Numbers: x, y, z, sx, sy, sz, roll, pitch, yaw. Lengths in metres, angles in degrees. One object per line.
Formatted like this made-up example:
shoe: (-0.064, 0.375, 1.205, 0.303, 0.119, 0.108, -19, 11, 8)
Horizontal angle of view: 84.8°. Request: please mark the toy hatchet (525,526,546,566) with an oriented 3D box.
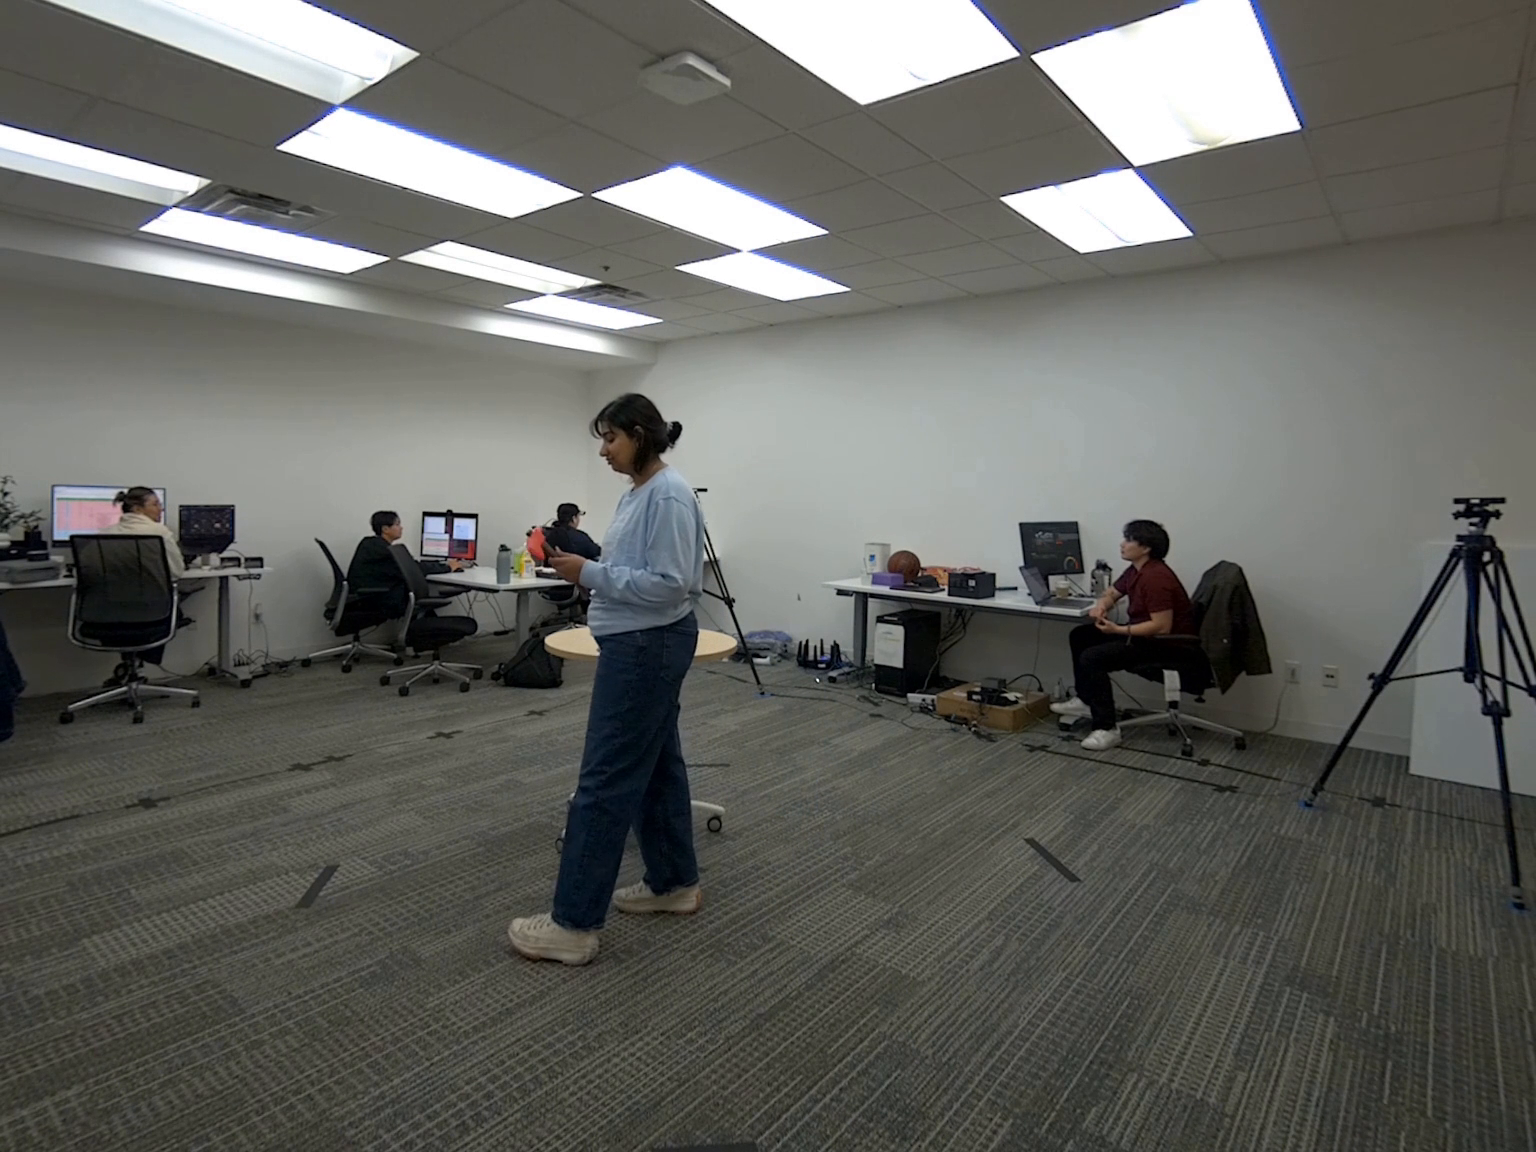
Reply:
toy hatchet: (-0.639, -0.034, 2.534, 0.030, 0.267, 0.131, -34, 7, 20)
